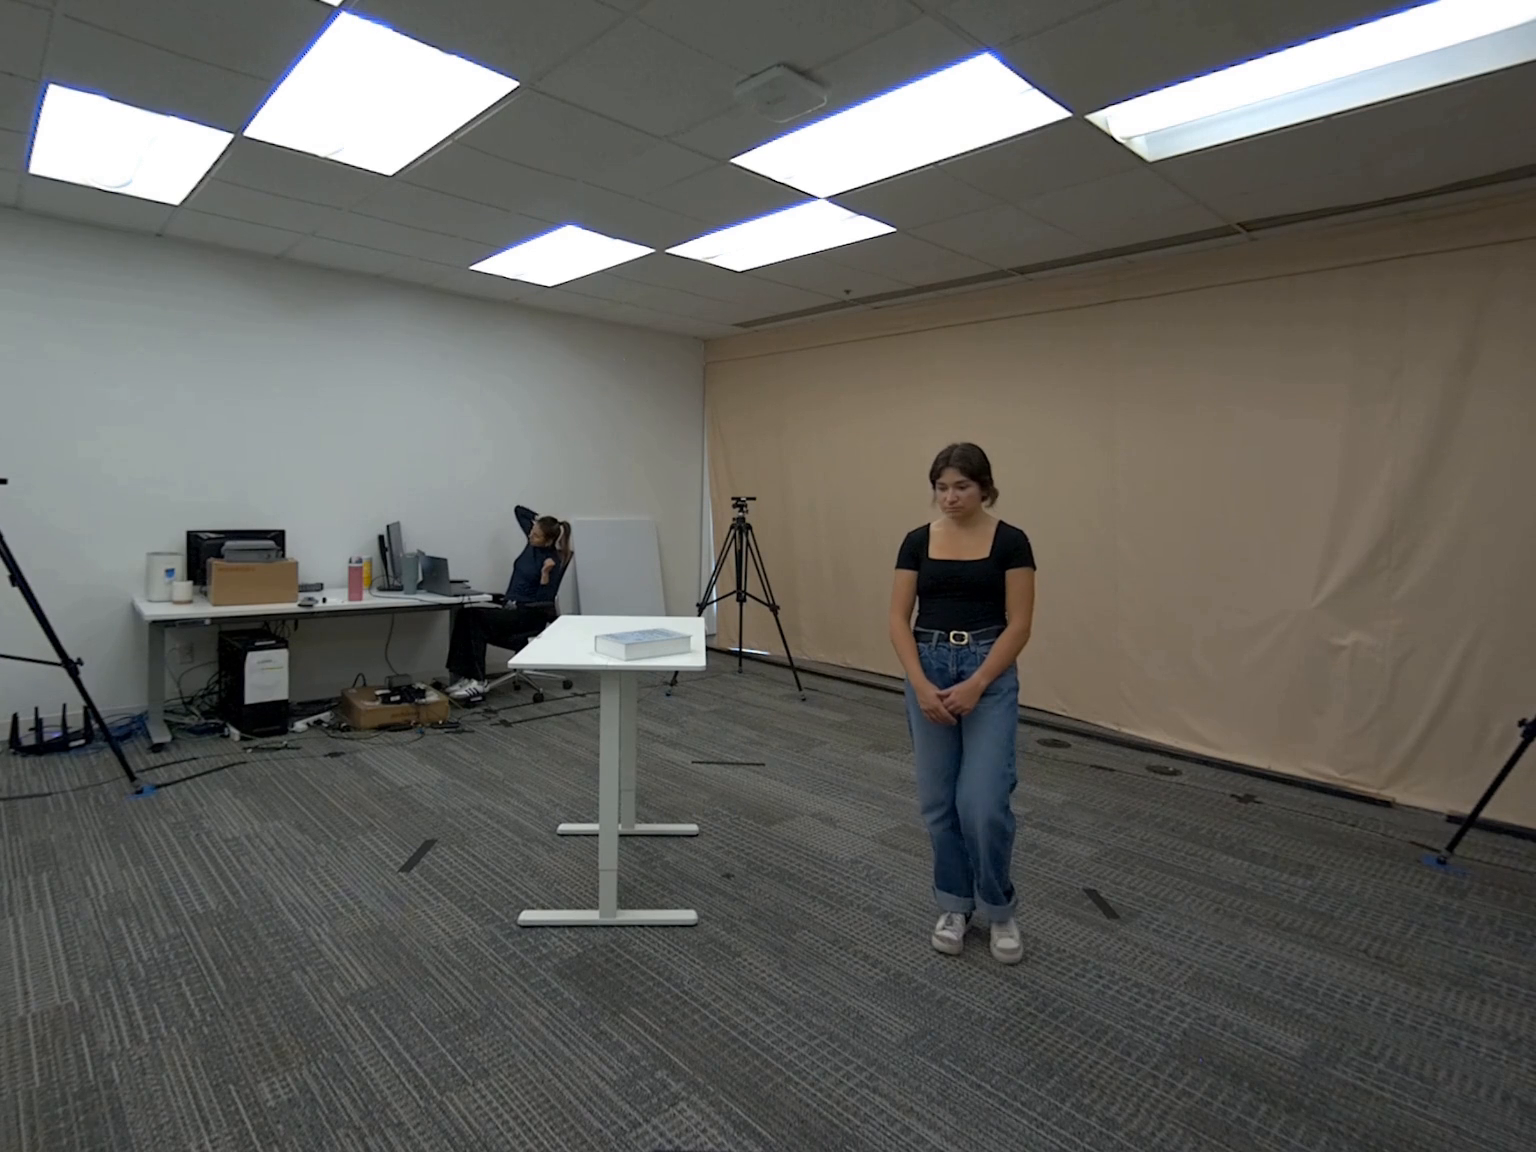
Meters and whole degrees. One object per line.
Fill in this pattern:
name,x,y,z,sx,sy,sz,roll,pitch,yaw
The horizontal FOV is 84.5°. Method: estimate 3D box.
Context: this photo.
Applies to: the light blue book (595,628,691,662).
light blue book,-0.409,0.222,2.762,0.255,0.059,0.196,-4,7,-41
